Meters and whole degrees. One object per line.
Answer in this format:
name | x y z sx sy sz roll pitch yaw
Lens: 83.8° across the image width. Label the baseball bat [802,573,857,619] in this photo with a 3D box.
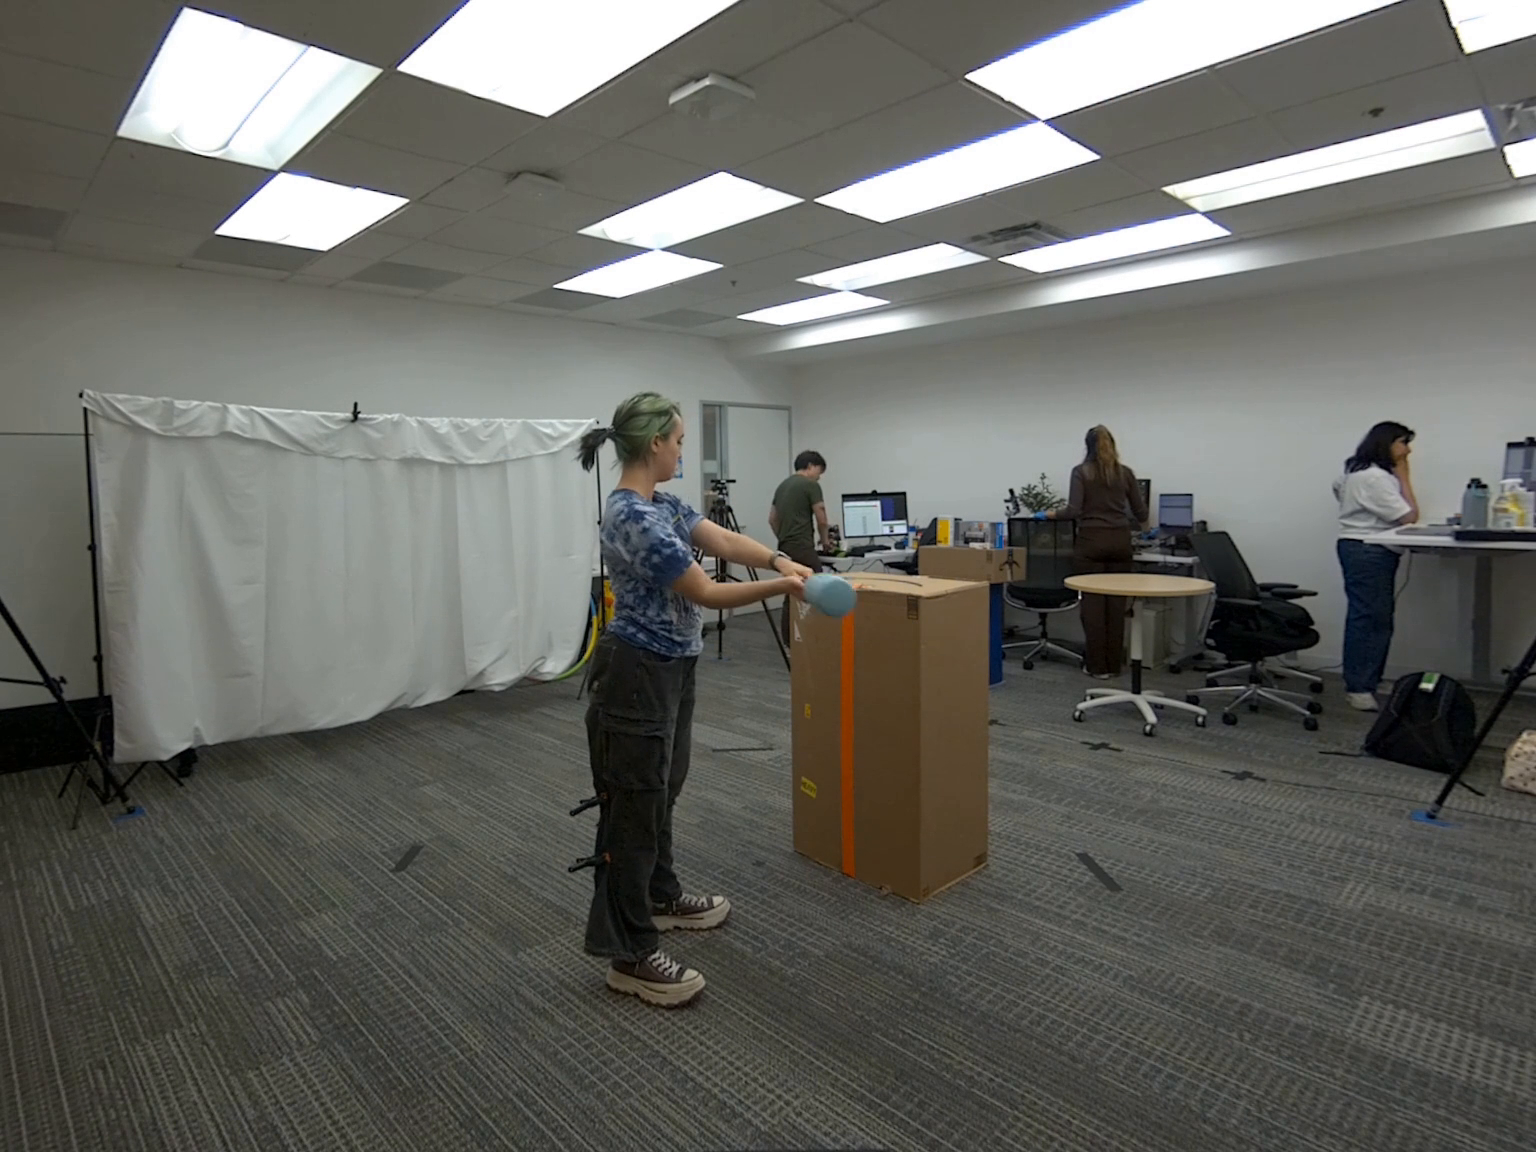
baseball bat | 0.112 0.026 2.067 0.088 0.089 0.546 -1 3 -6
